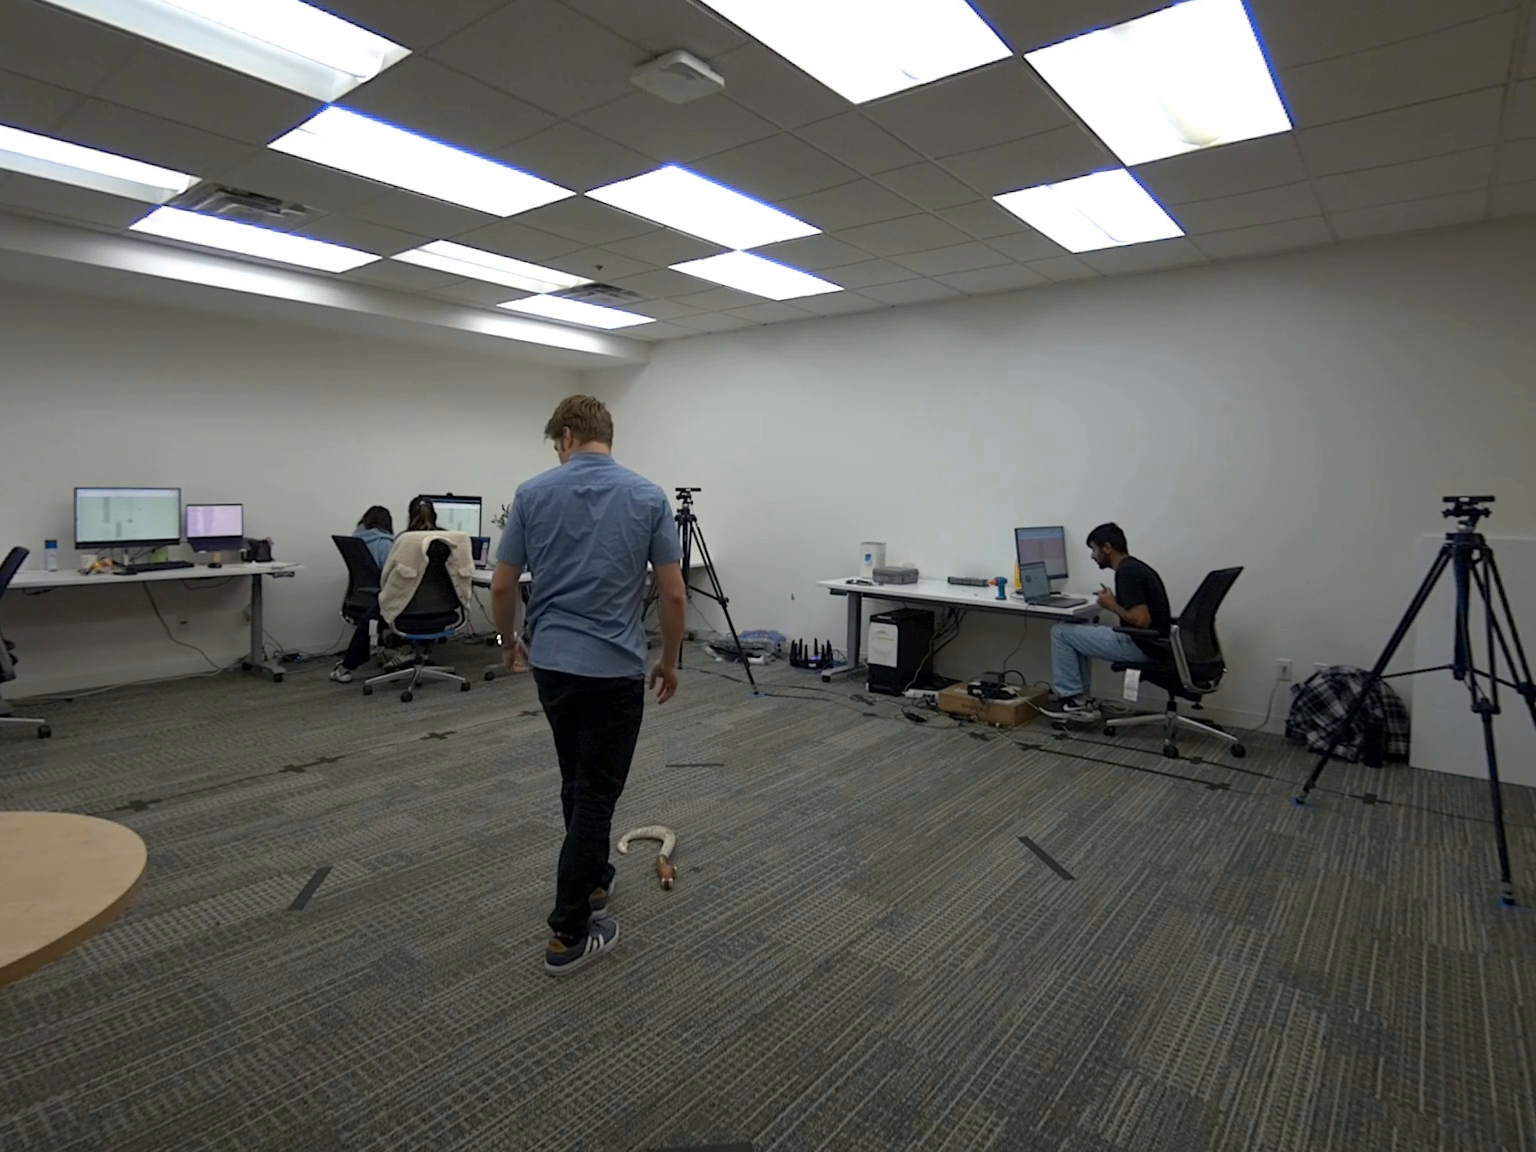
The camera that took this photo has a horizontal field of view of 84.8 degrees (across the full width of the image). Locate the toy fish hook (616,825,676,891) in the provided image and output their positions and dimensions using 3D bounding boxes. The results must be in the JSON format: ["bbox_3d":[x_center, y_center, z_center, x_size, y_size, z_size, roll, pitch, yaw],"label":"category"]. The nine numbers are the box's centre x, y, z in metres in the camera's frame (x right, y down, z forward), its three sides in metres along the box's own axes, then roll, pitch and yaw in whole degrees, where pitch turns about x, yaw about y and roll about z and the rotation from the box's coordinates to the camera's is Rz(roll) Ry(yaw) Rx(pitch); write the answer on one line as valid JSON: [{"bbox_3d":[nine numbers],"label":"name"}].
[{"bbox_3d":[-0.454,1.044,3.171,0.223,0.048,0.513,-9,7,-10],"label":"toy fish hook"}]
